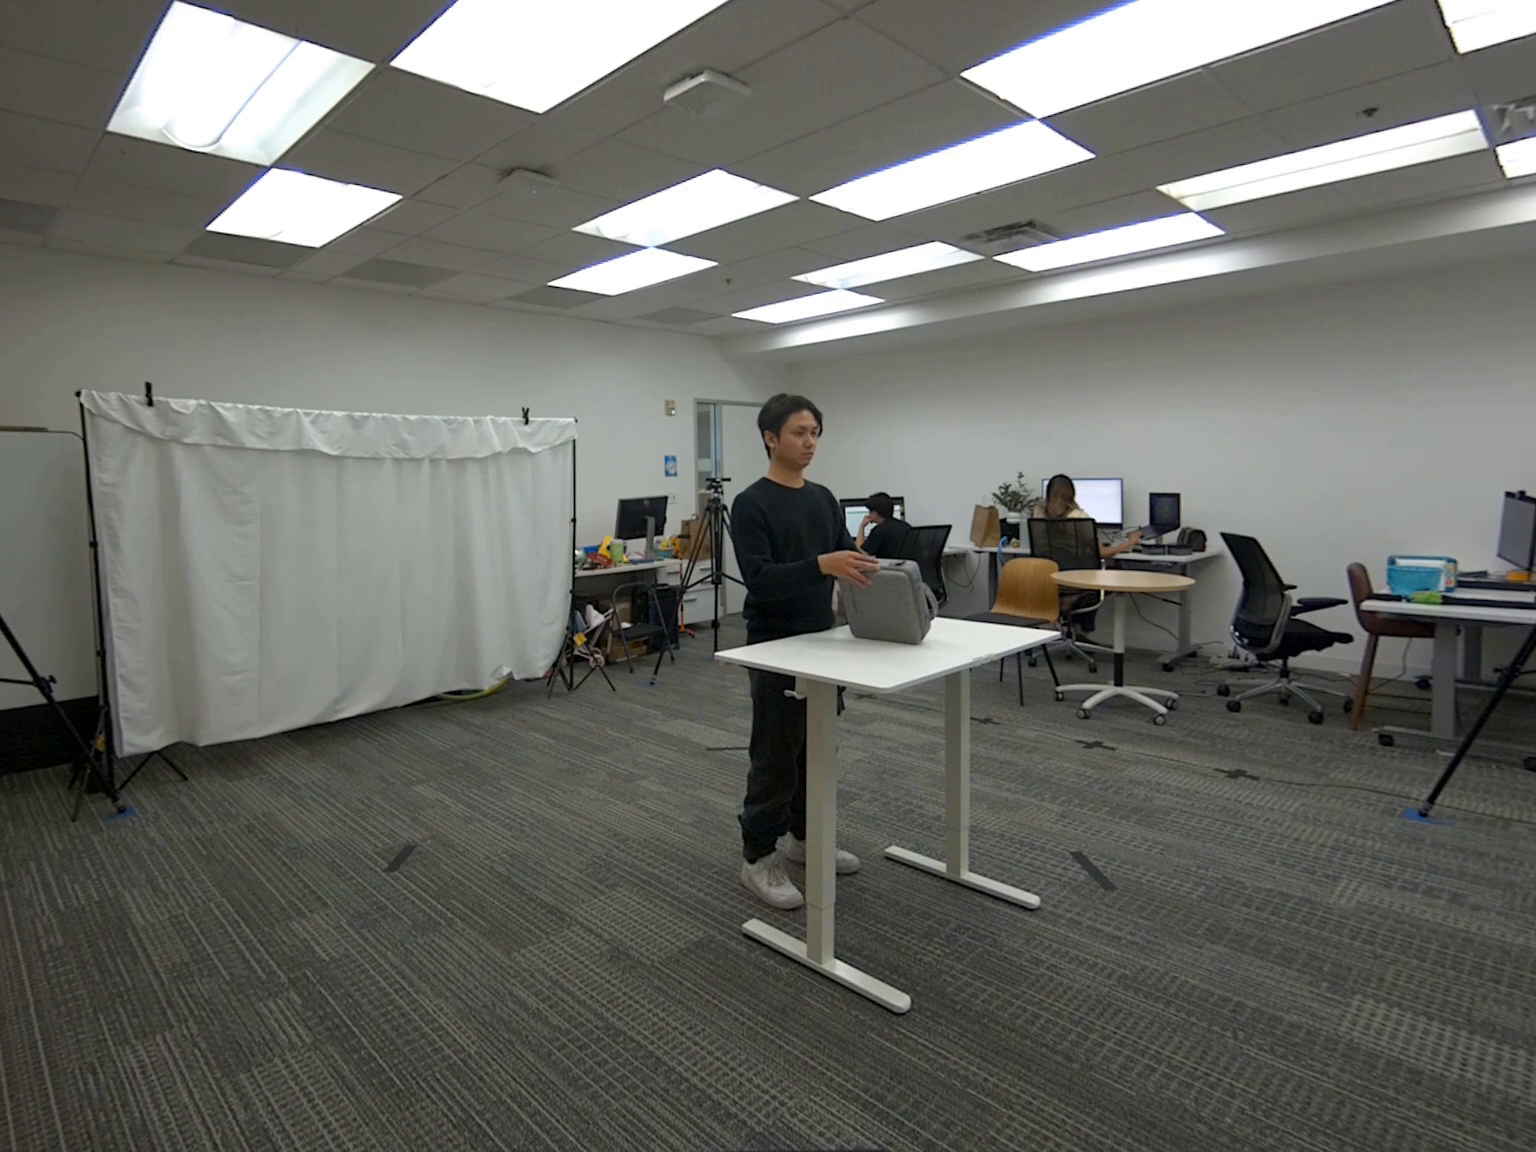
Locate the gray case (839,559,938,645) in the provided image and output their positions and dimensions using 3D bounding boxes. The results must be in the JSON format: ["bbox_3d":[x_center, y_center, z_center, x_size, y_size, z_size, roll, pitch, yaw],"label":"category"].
[{"bbox_3d":[0.375,0.078,2.642,0.268,0.252,0.103,3,25,38],"label":"gray case"}]
